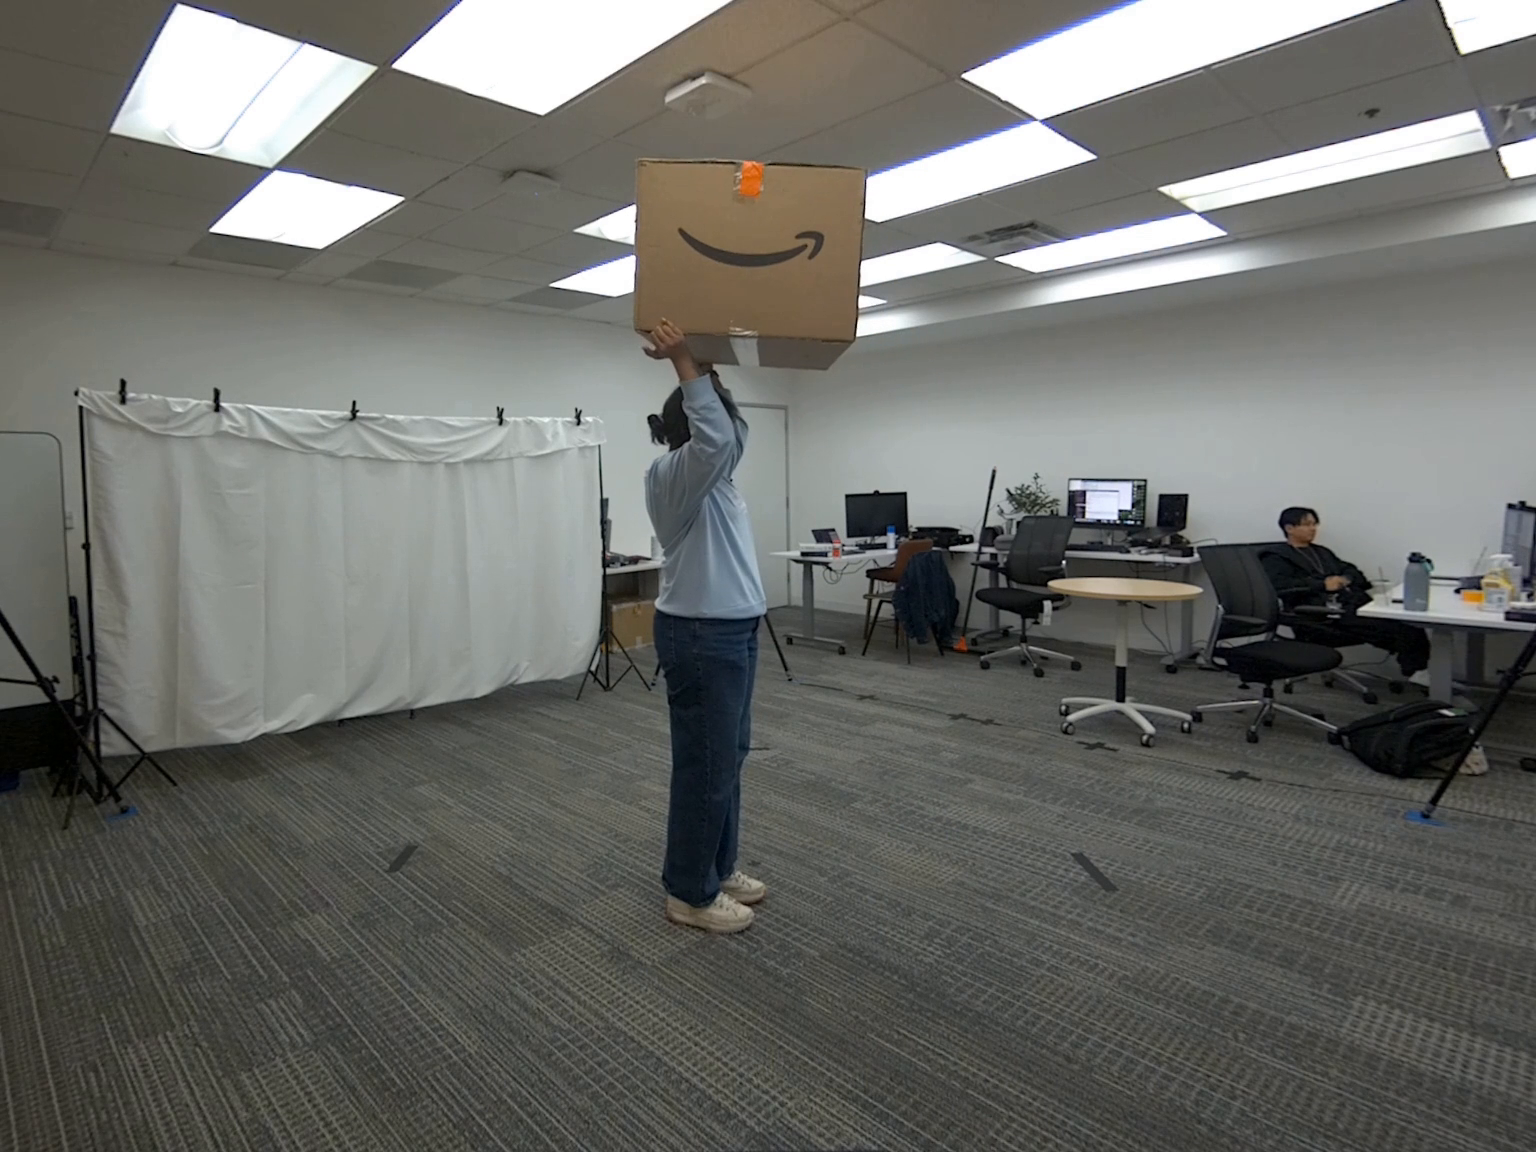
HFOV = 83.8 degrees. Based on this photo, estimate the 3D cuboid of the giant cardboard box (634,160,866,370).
[{"bbox_3d":[-0.049,-0.899,2.653,0.579,0.423,1.031,4,9,1],"label":"giant cardboard box"}]
